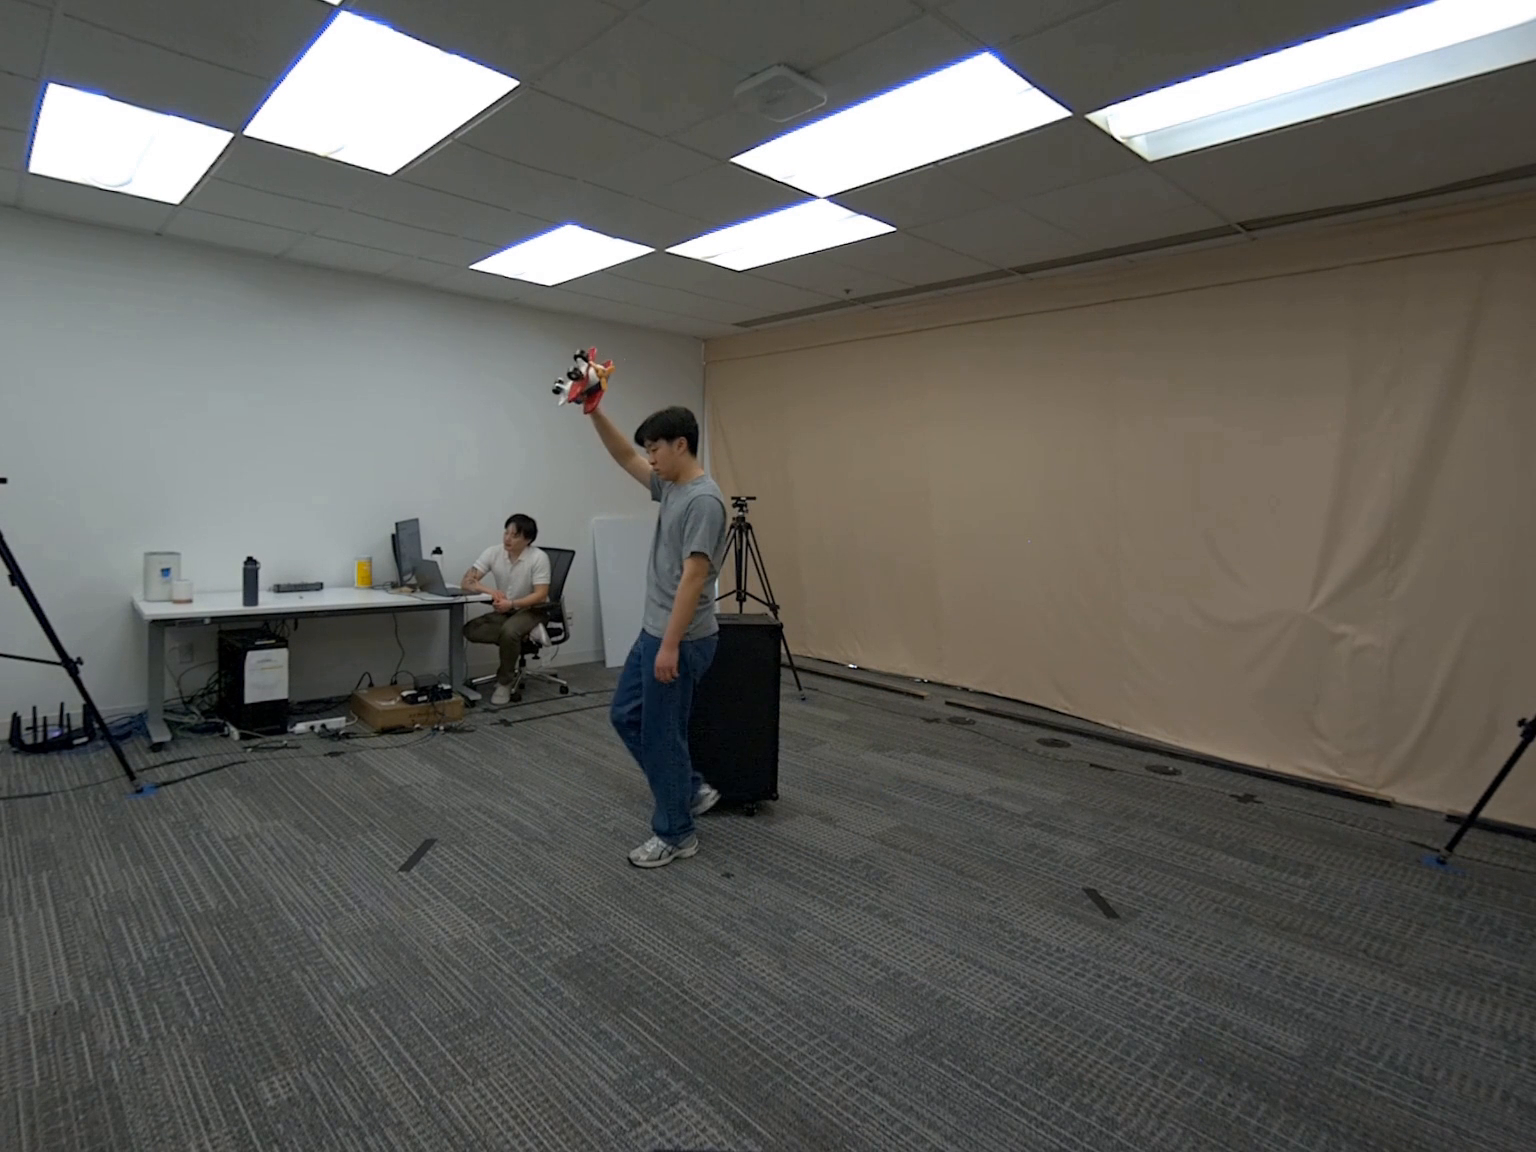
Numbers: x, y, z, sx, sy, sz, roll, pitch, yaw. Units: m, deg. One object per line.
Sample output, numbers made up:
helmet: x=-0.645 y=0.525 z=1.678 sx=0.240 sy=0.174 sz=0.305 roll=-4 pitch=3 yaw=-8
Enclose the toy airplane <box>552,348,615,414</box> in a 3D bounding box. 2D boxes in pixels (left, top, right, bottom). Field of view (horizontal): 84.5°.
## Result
toy airplane: x=-0.706 y=-0.752 z=3.194 sx=0.153 sy=0.251 sz=0.265 roll=27 pitch=-4 yaw=-24
